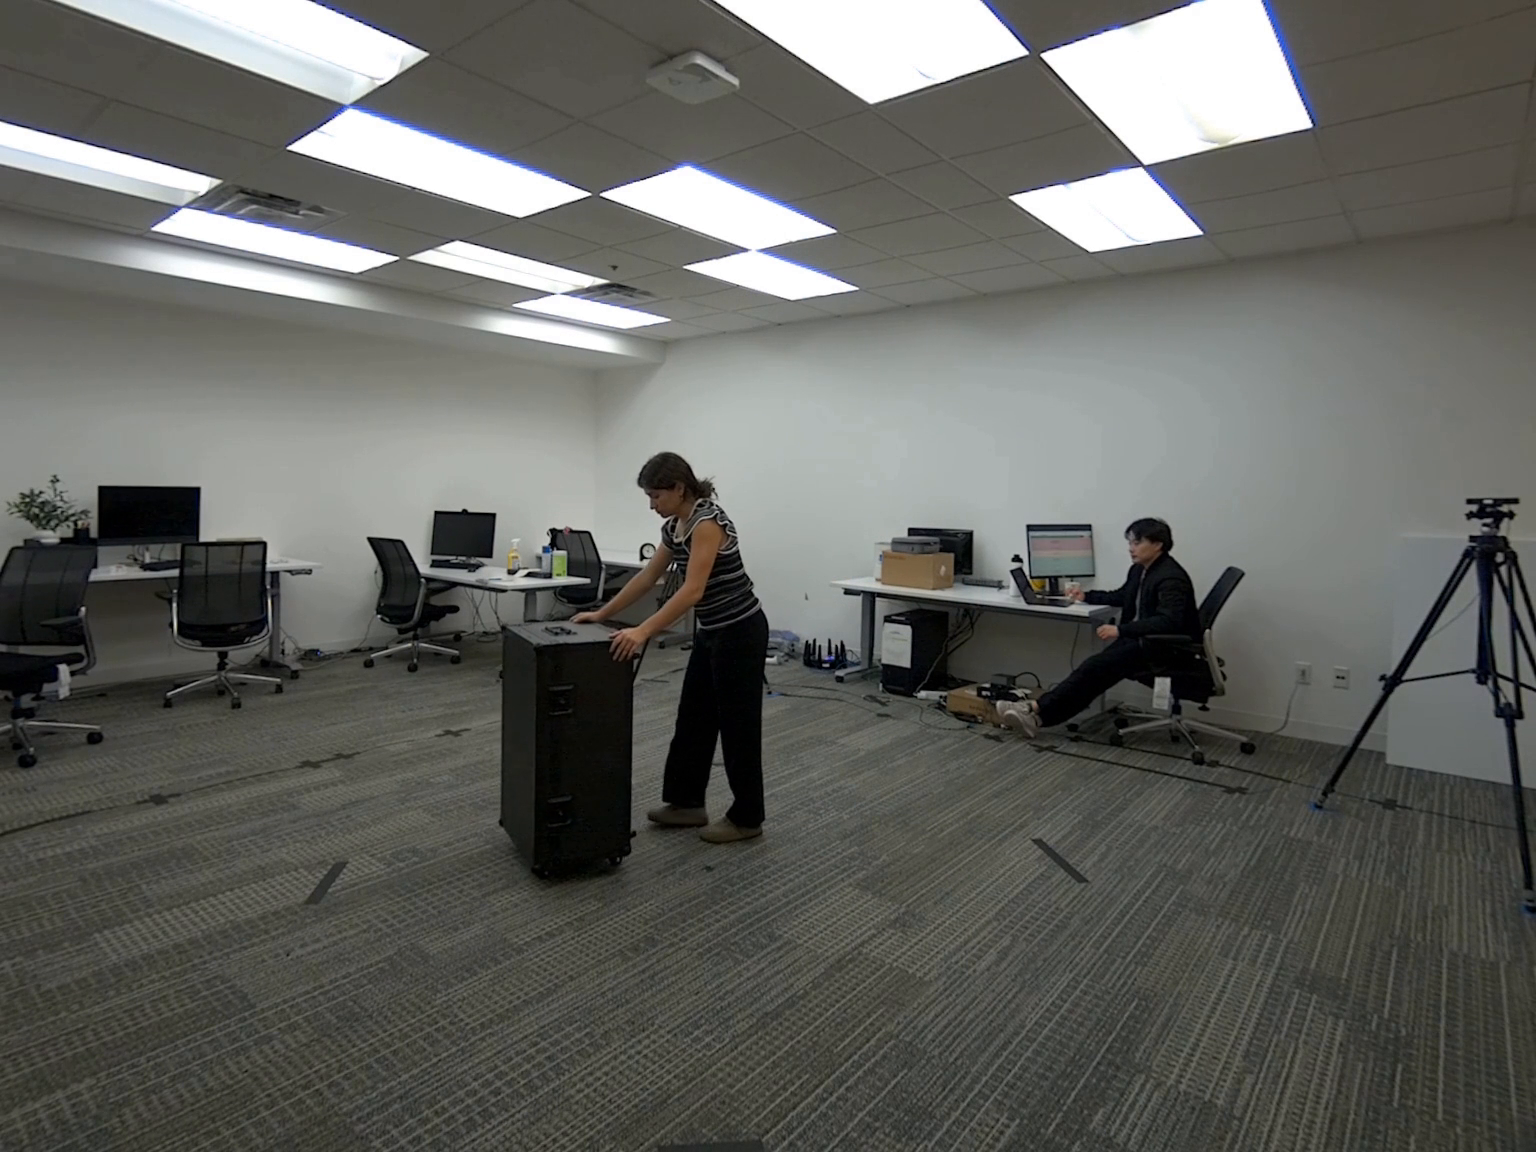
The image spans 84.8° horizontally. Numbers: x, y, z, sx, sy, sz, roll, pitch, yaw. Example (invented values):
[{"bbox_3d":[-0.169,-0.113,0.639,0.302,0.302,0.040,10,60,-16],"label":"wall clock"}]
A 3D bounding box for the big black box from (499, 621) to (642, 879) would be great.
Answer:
[{"bbox_3d":[-0.763,0.627,3.164,0.385,0.860,0.537,0,3,-31],"label":"big black box"}]
